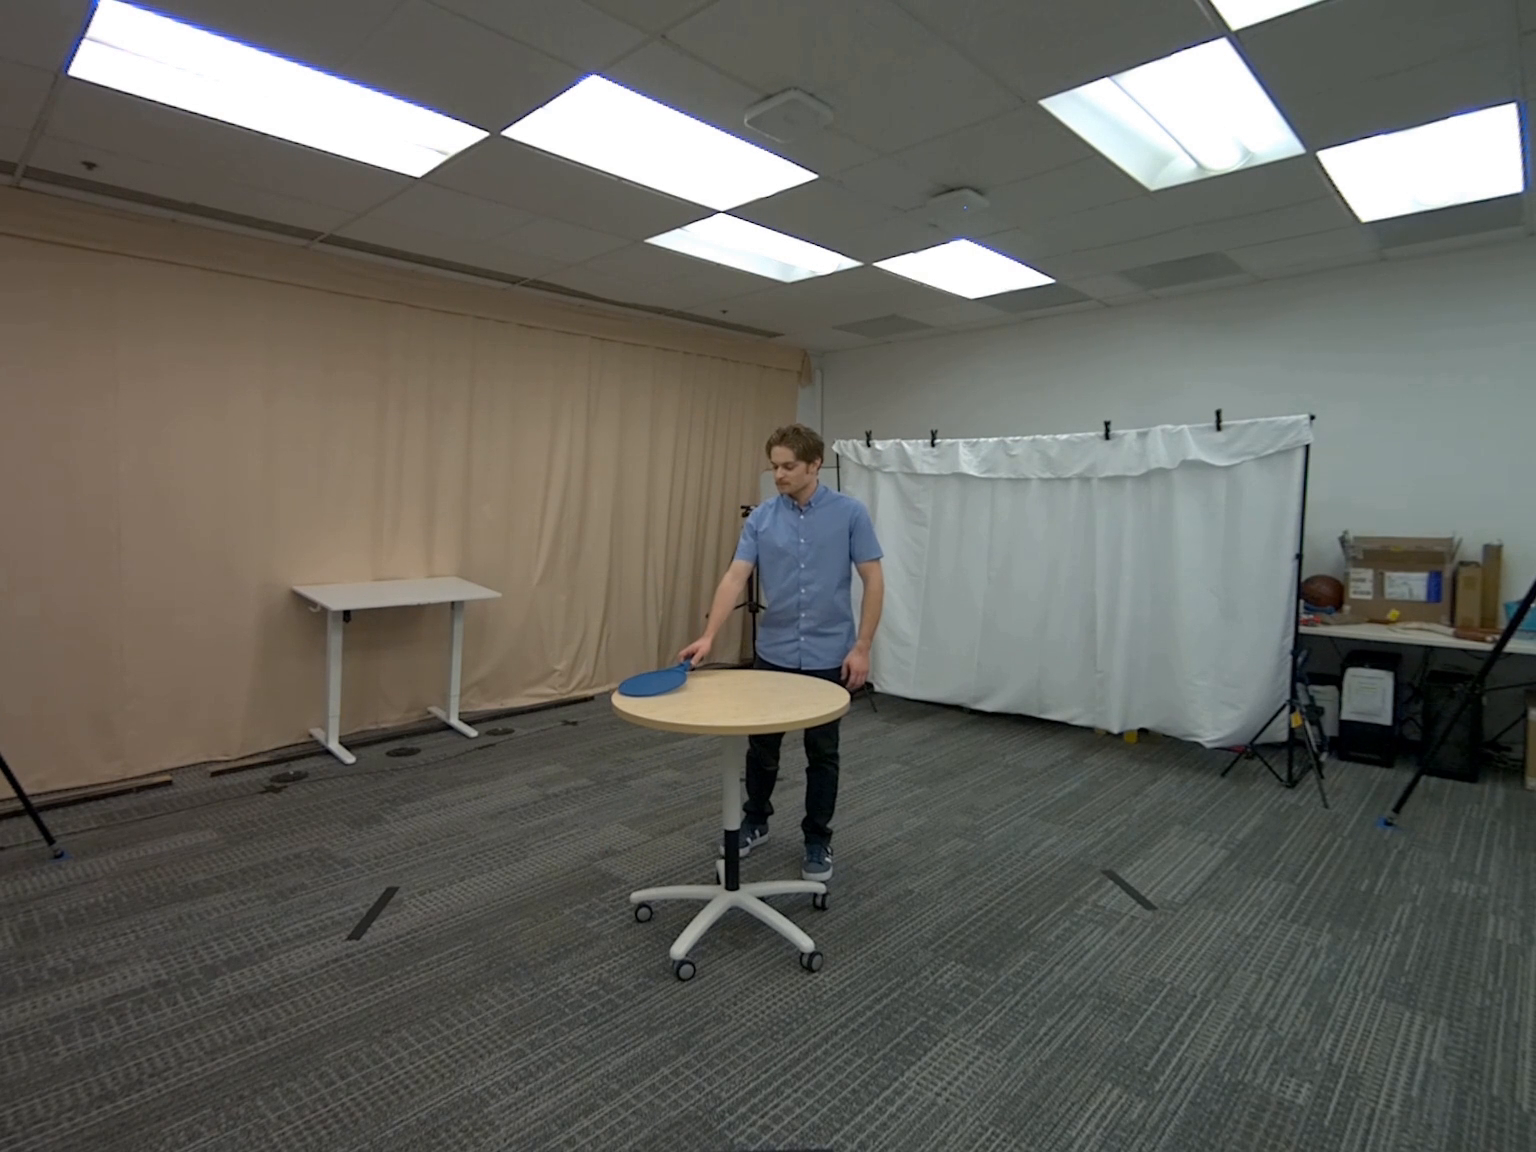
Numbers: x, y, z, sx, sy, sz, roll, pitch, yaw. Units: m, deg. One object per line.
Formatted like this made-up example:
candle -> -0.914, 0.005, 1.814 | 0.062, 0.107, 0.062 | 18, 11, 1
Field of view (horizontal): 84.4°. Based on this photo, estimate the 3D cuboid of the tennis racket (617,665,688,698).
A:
tennis racket -> -0.349, 0.343, 2.866 | 0.220, 0.031, 0.423 | 3, 13, 31
